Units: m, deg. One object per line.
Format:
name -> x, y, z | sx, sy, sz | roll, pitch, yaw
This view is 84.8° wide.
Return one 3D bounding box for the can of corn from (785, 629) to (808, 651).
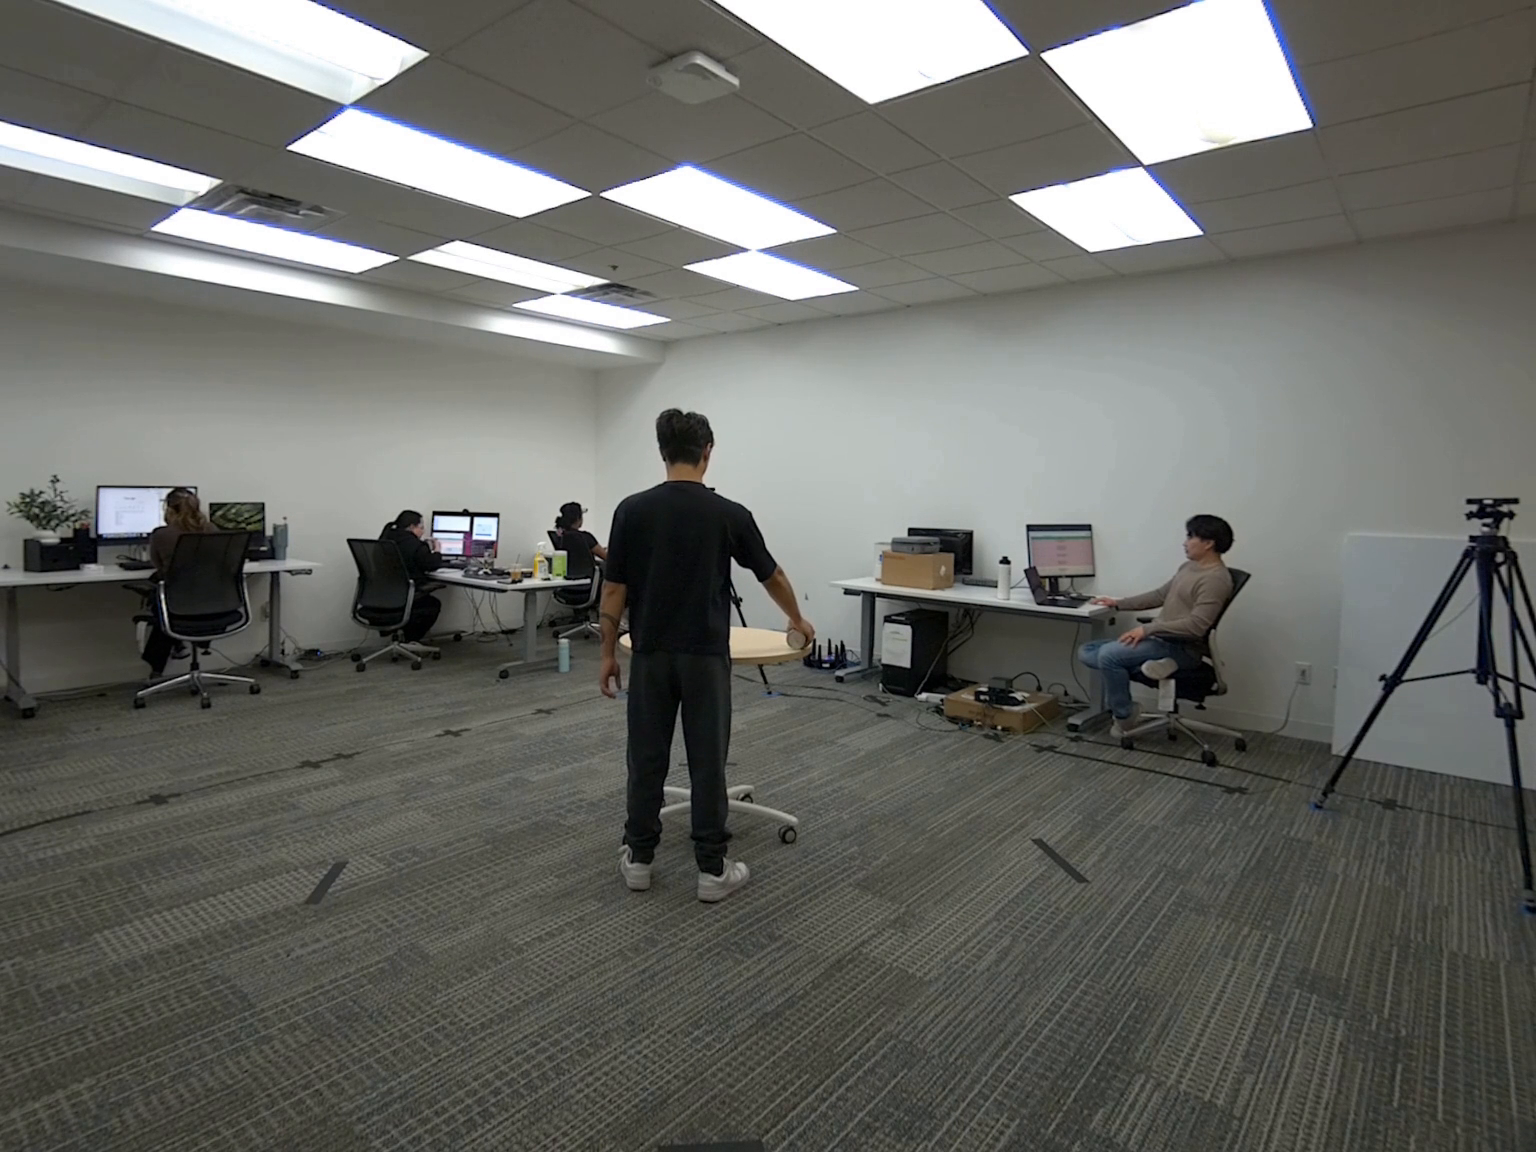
can of corn -> 0.099, 0.230, 3.274 | 0.075, 0.074, 0.111 | 1, 8, 6
